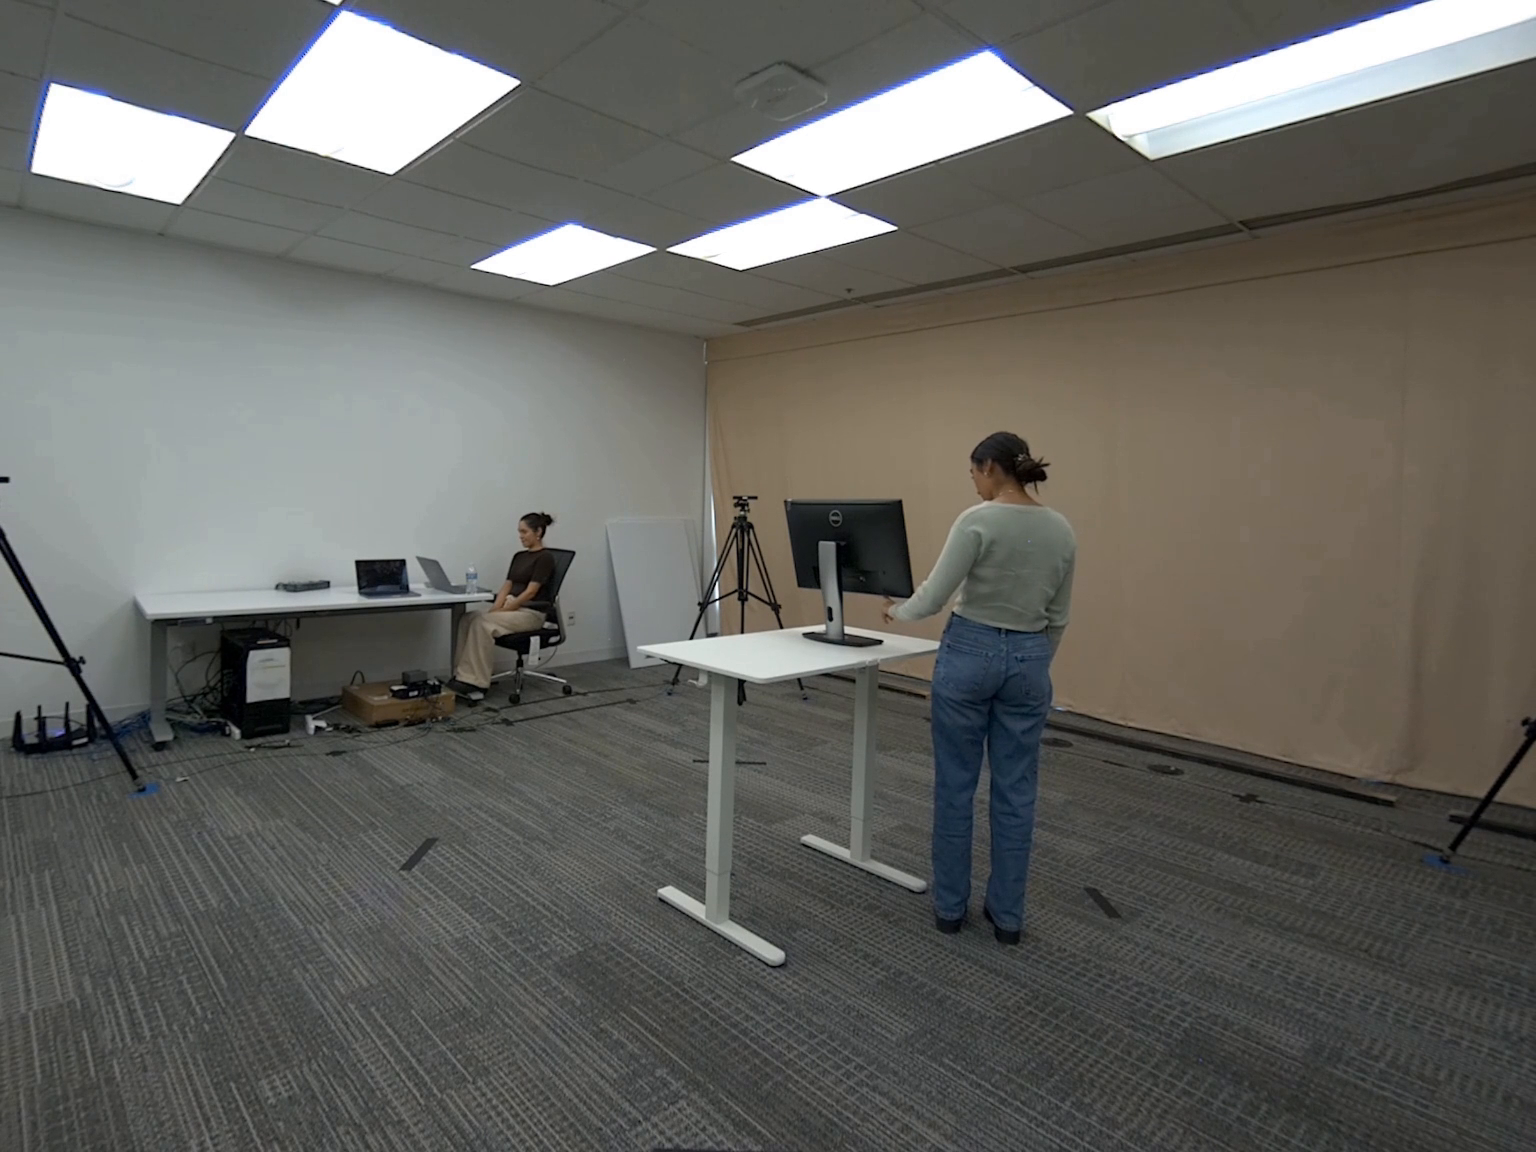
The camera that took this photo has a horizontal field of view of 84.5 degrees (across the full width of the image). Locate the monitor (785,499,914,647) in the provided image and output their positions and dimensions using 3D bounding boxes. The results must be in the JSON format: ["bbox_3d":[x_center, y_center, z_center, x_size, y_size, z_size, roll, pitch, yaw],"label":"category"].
[{"bbox_3d":[0.260,-0.014,3.043,0.553,0.521,0.183,4,6,44],"label":"monitor"}]
